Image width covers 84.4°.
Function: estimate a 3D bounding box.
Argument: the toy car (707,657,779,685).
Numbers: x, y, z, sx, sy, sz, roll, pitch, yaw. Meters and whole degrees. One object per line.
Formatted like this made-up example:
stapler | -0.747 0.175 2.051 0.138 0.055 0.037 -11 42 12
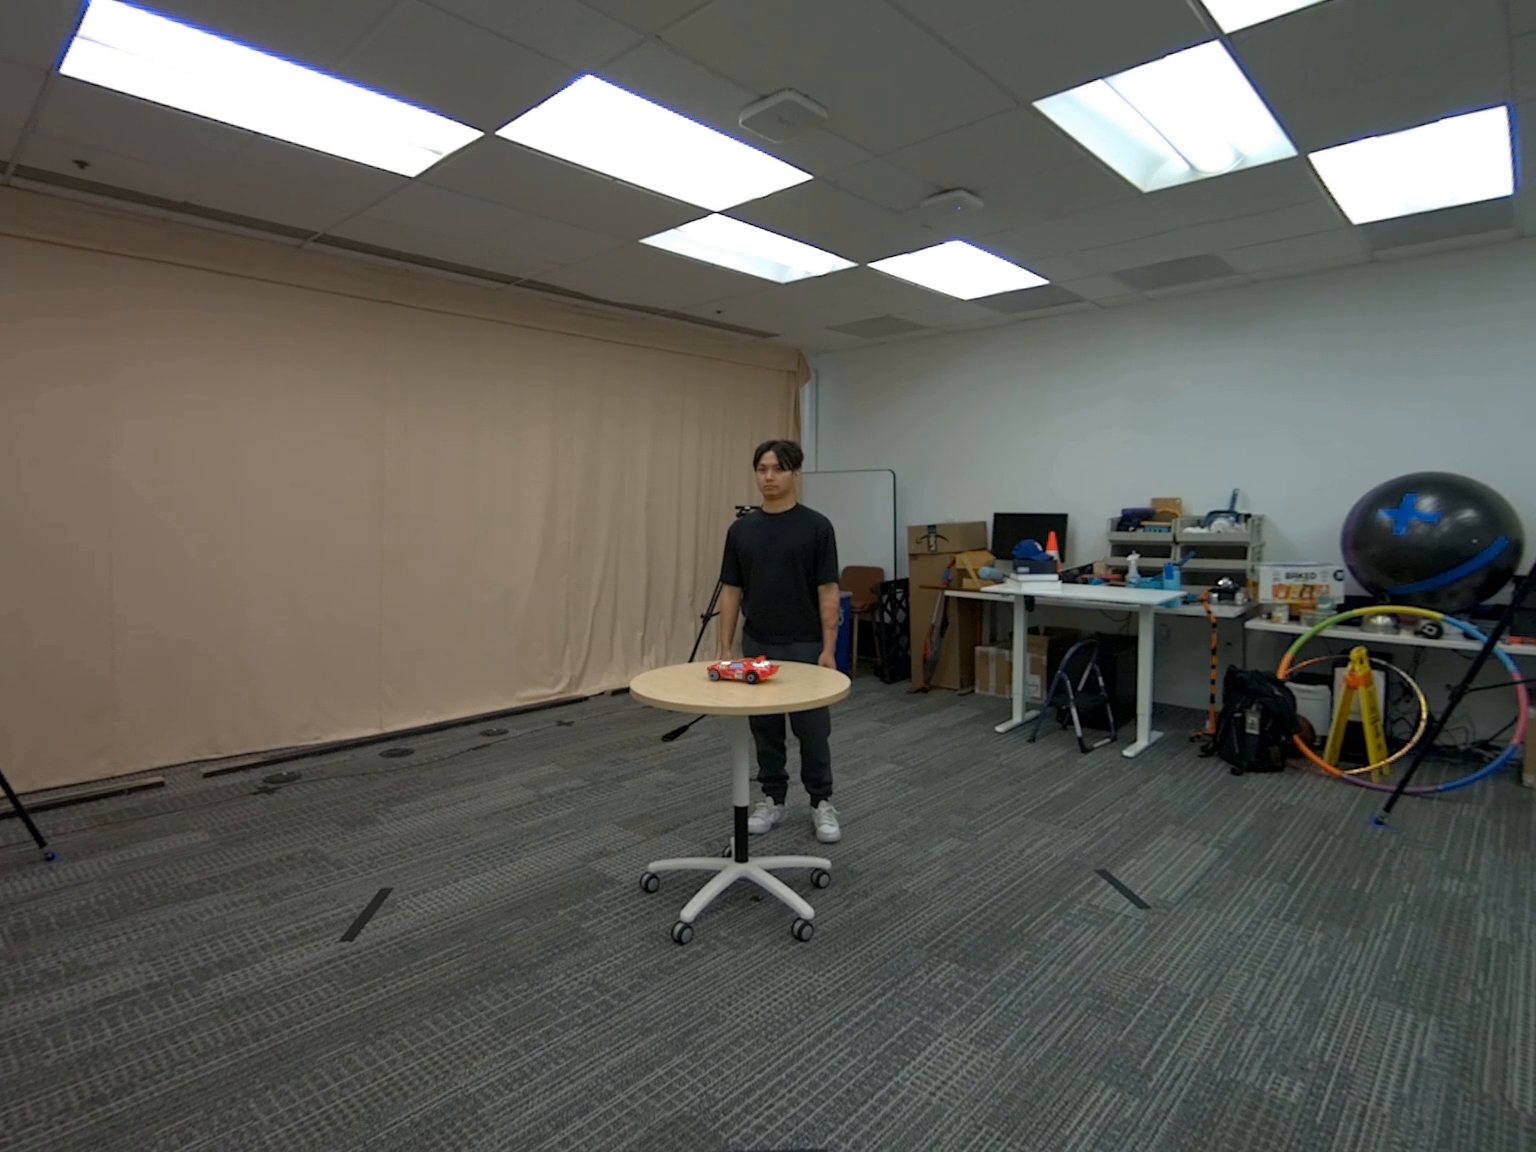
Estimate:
toy car | -0.084 0.332 2.936 0.260 0.083 0.127 -10 0 26
